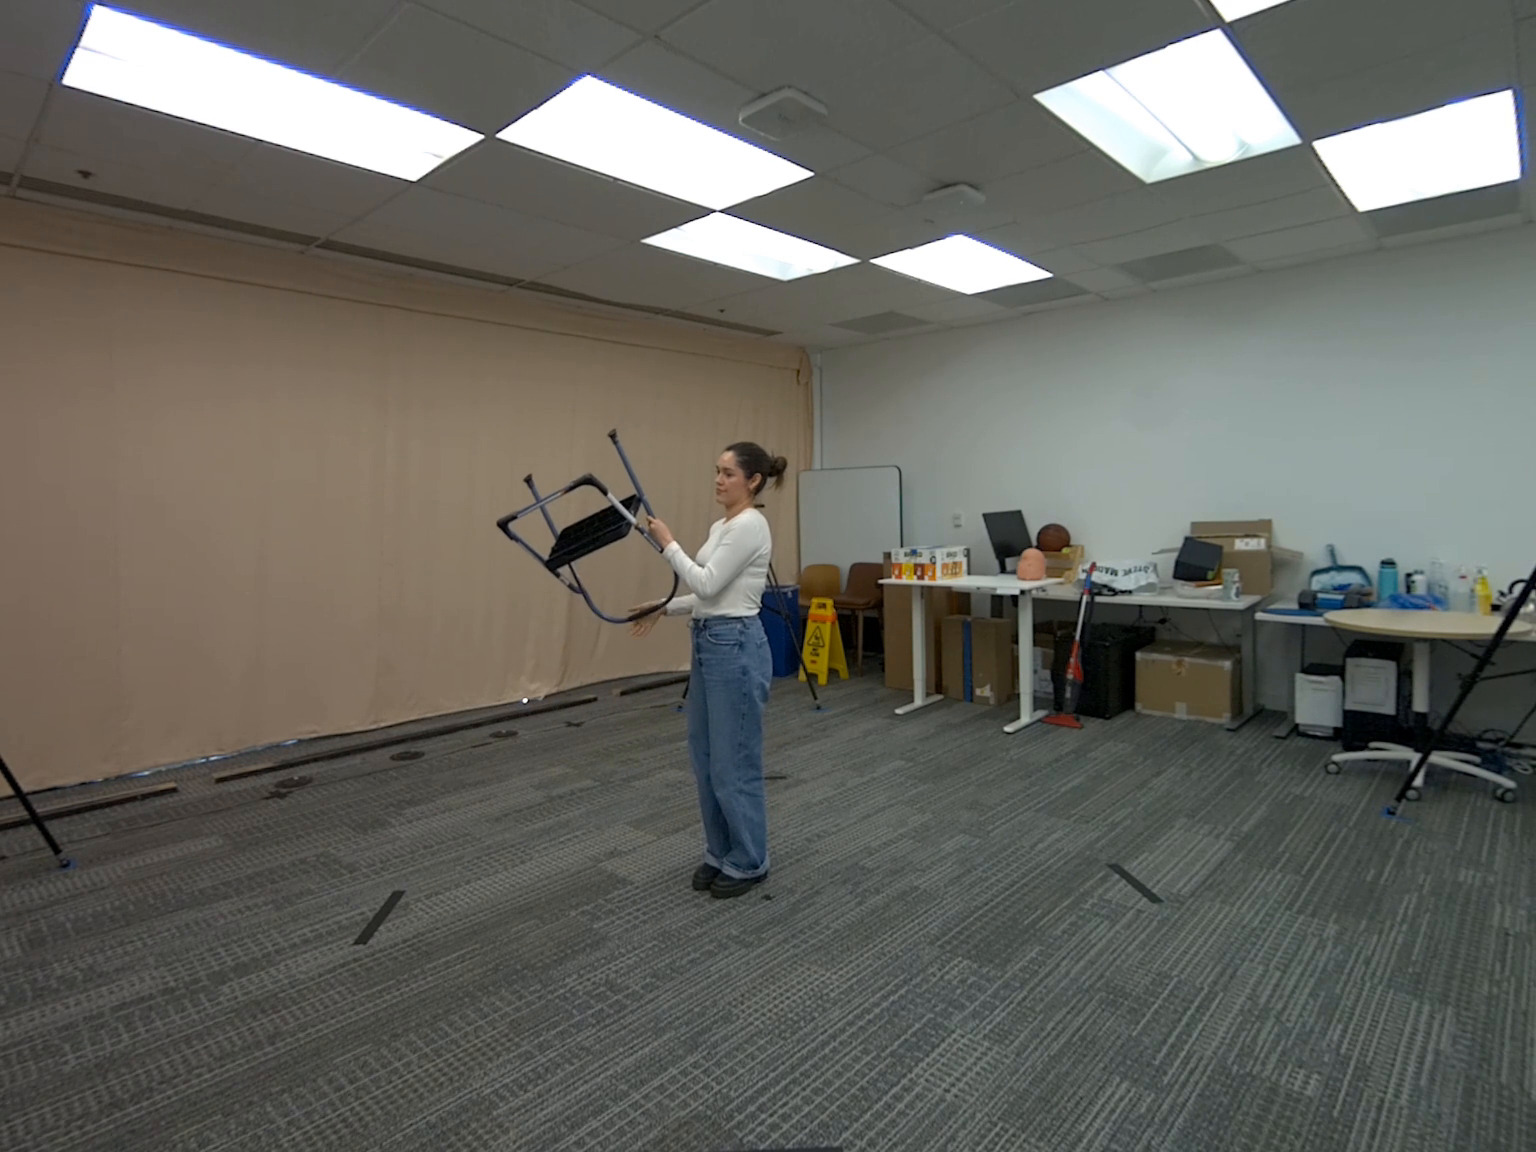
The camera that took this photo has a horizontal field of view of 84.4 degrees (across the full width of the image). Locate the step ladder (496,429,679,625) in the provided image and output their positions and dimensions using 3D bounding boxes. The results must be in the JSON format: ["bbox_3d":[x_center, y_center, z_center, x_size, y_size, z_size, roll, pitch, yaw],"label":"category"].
[{"bbox_3d":[-0.586,-0.119,3.044,0.438,0.590,0.352,-23,28,23],"label":"step ladder"}]
